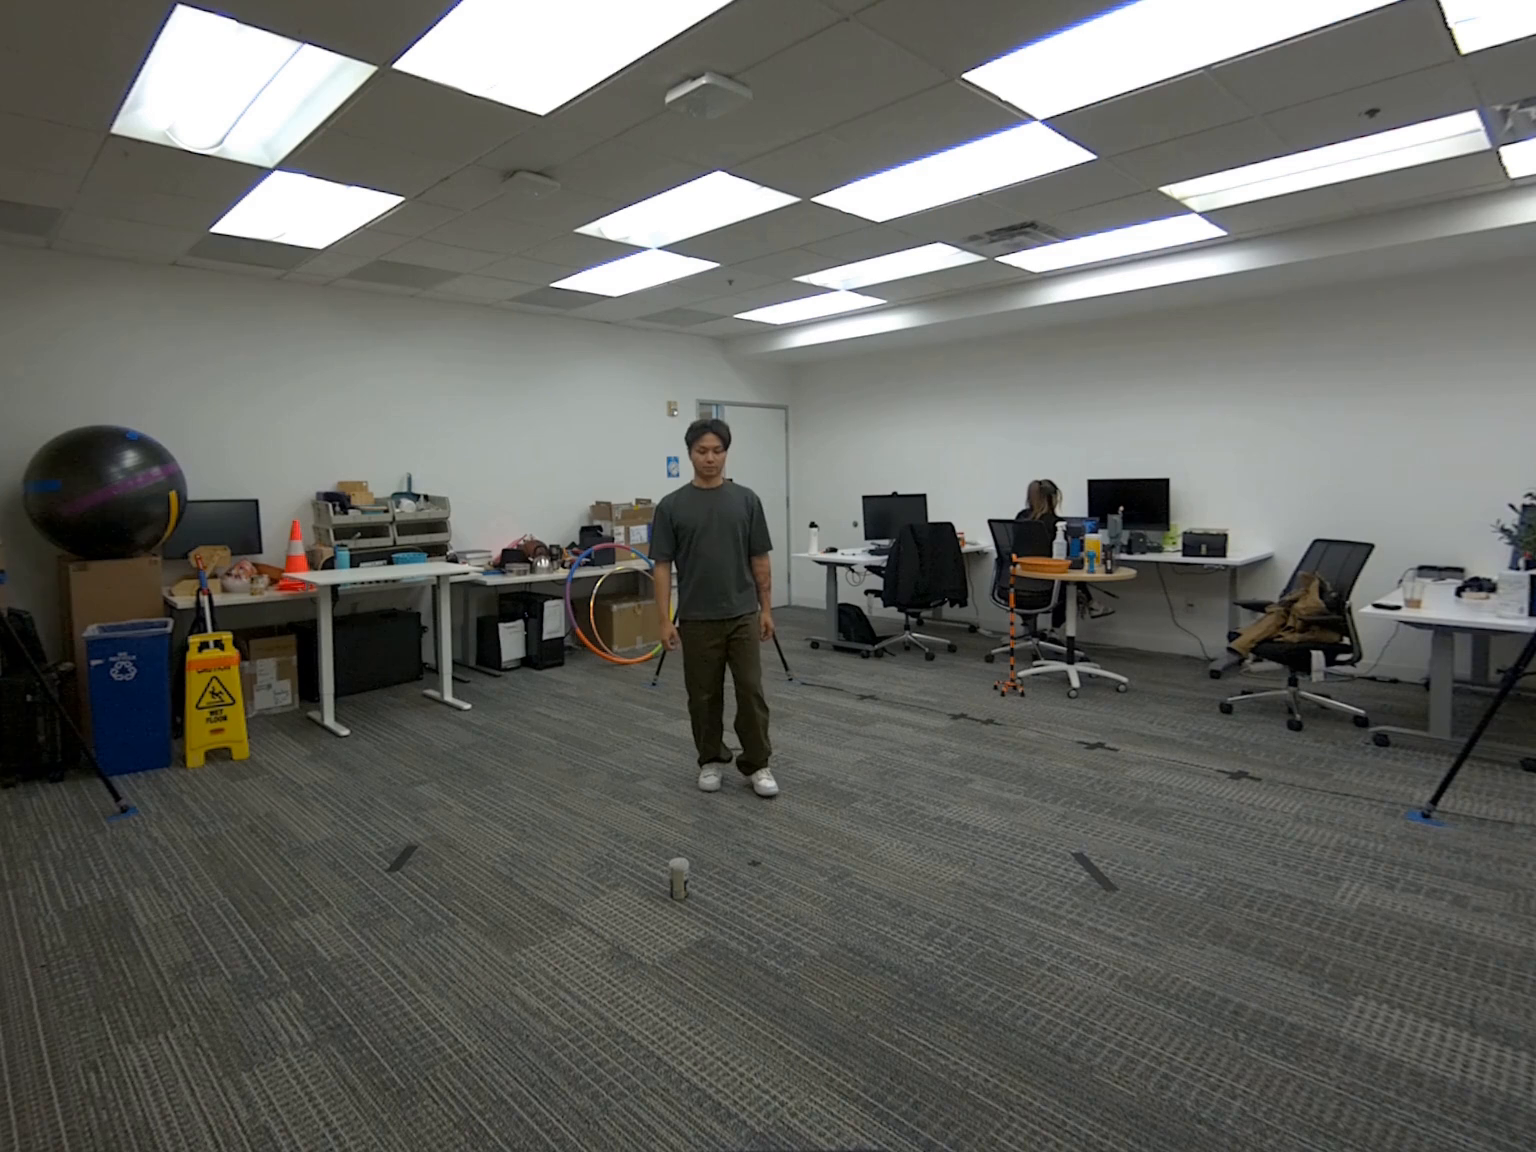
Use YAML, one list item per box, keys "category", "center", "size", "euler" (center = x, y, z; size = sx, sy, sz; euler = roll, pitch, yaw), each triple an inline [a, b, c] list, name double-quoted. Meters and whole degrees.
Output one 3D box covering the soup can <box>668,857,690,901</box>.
- category: "soup can"
  center: [-0.295, 1.021, 2.870]
  size: [0.067, 0.121, 0.067]
  euler: [-1, 2, -2]
